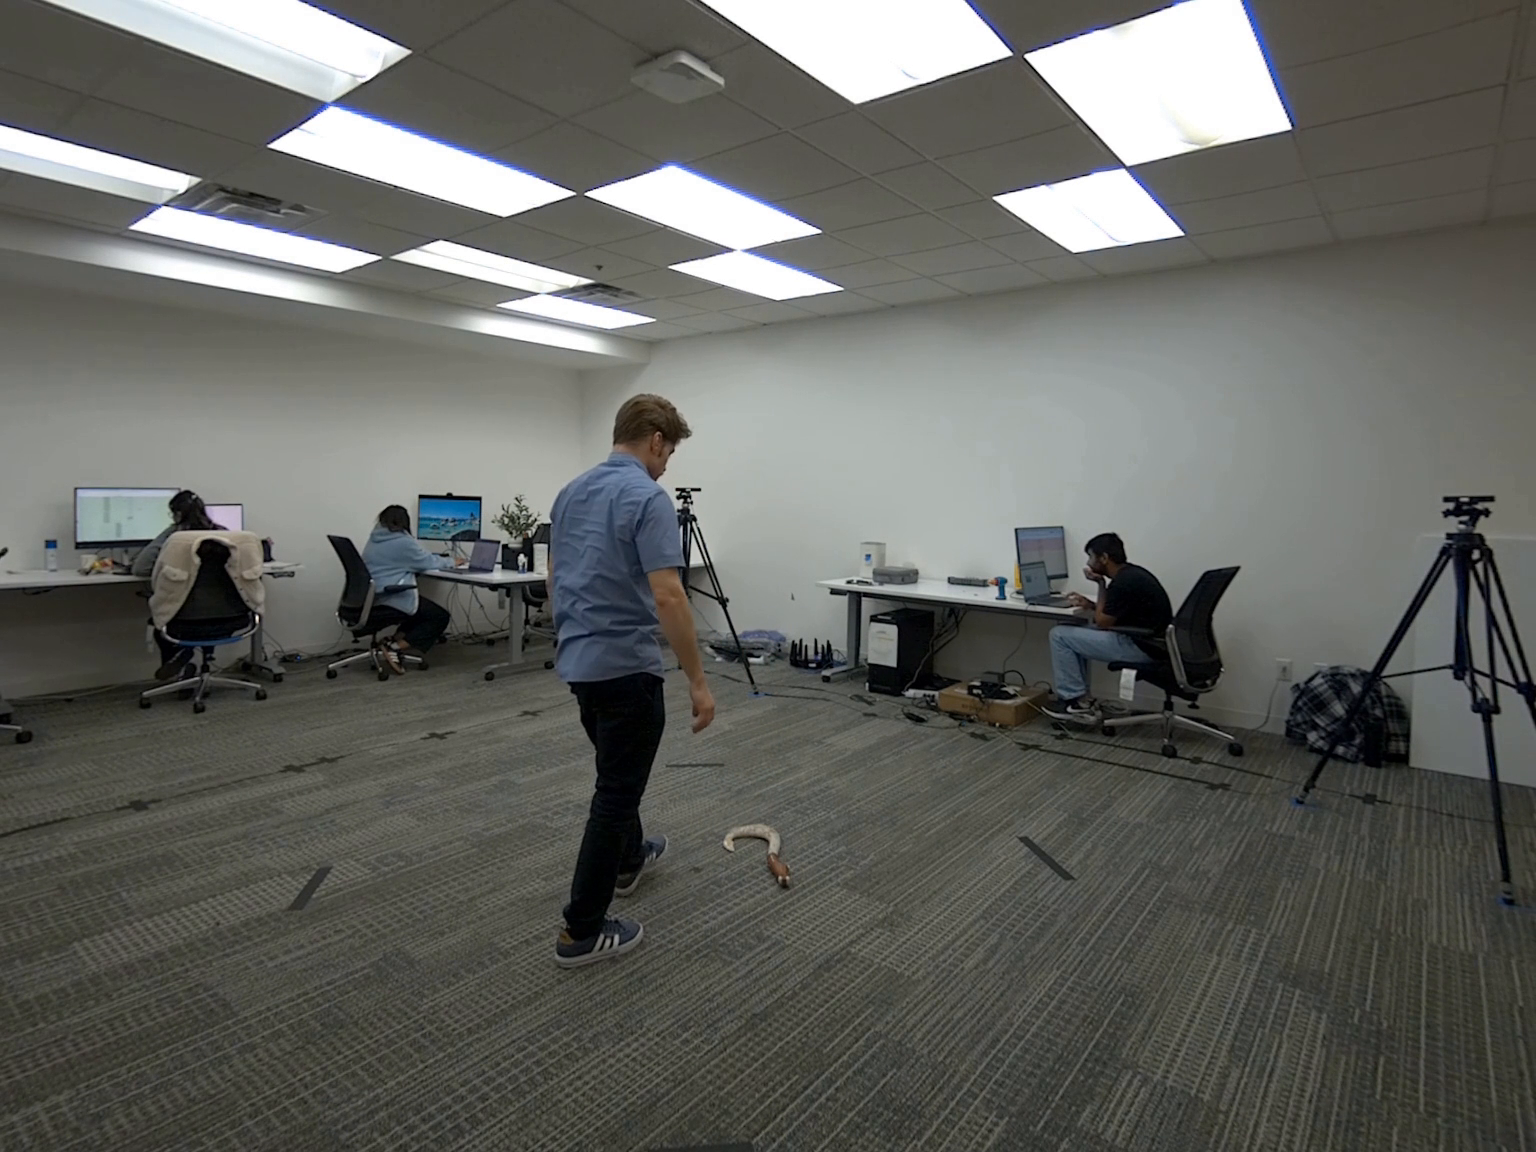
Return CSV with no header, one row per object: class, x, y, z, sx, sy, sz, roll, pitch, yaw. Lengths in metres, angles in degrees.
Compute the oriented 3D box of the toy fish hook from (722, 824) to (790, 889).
toy fish hook,-0.046,1.045,3.202,0.223,0.048,0.514,-8,7,-10
